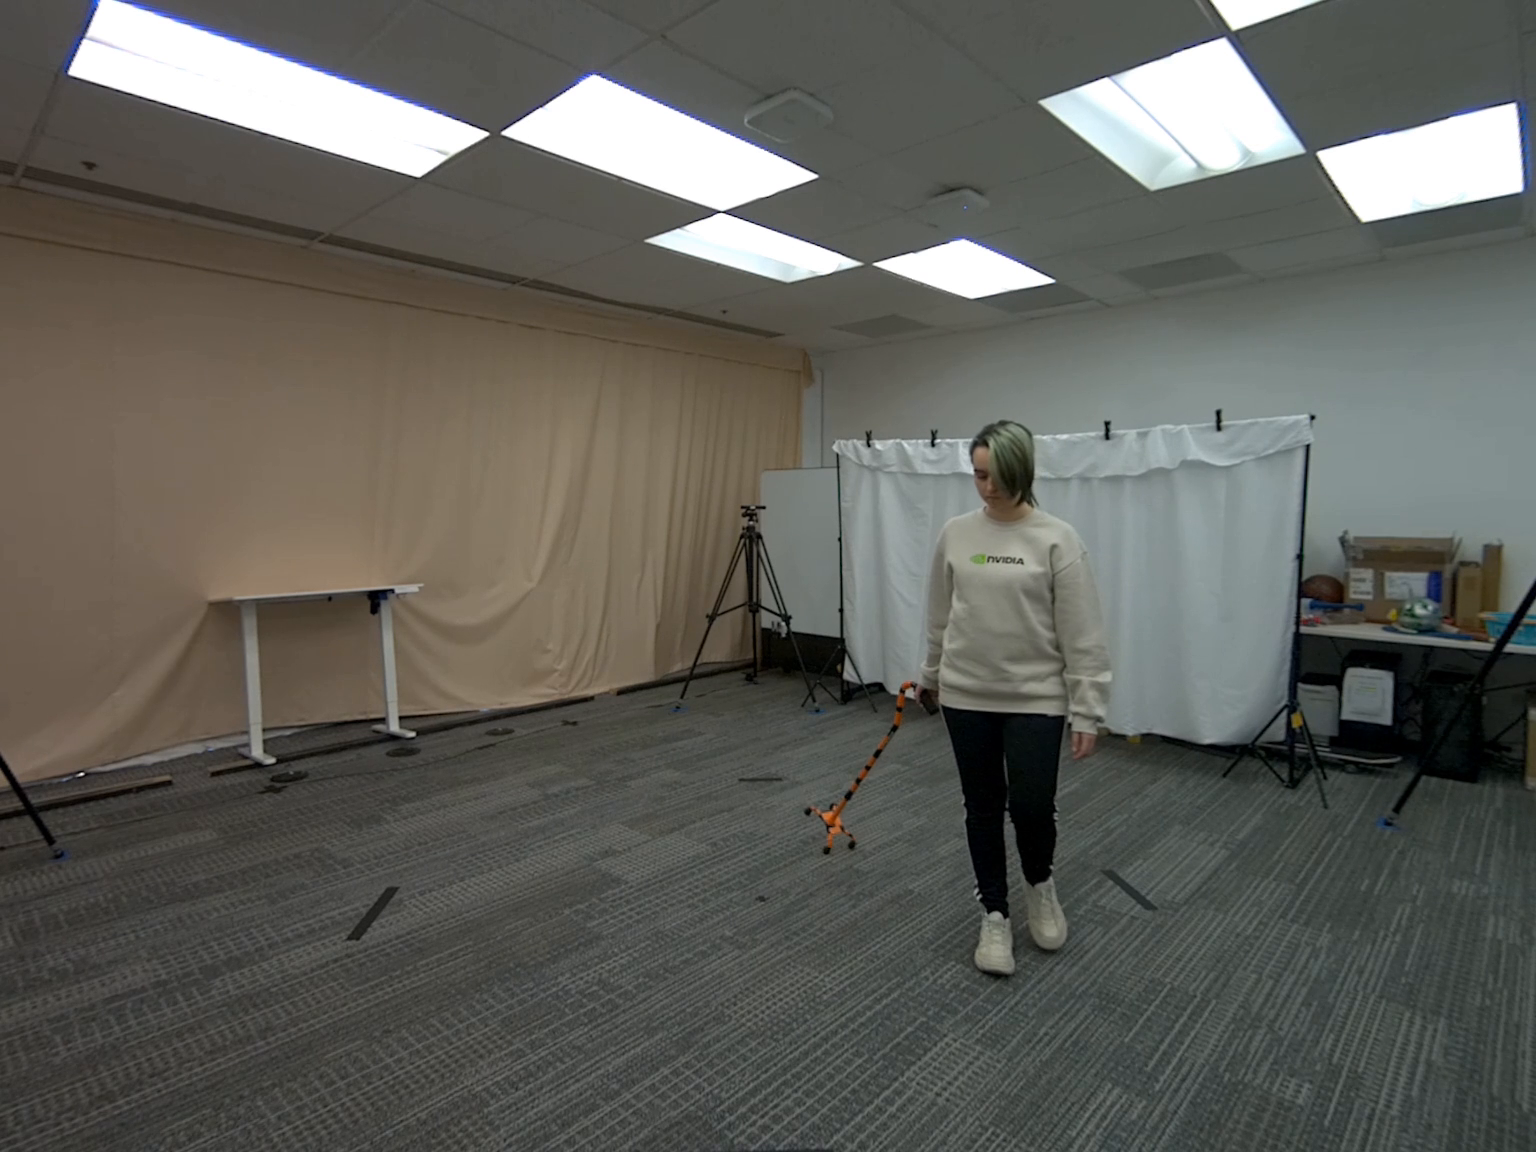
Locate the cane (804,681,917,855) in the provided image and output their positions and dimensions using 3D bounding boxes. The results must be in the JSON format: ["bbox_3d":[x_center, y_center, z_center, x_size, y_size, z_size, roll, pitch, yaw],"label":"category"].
[{"bbox_3d":[0.399,0.714,3.173,0.148,0.903,0.213,-1,43,-29],"label":"cane"}]
